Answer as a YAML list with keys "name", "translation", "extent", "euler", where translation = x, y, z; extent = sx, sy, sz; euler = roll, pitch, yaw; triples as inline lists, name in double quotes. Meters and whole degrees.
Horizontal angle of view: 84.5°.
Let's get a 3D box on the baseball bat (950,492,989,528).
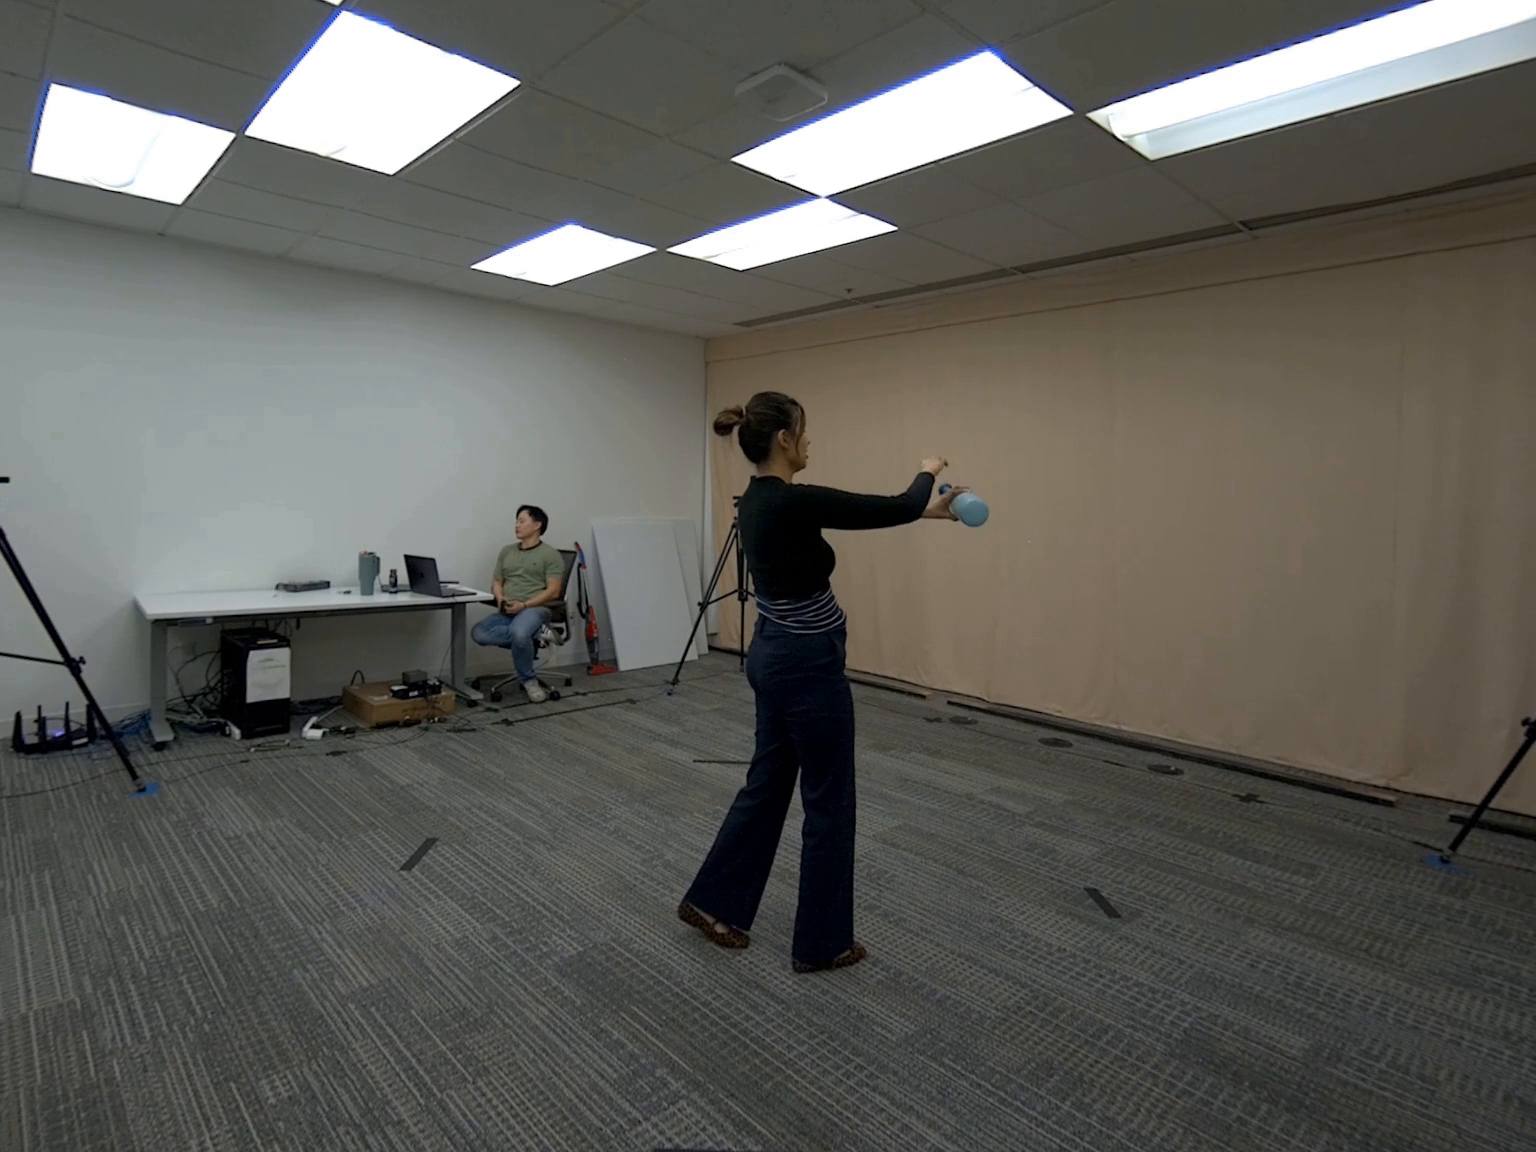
- name: "baseball bat"
  translation: [0.605, -0.241, 2.718]
  extent: [0.089, 0.088, 0.546]
  euler: [1, 12, 2]
